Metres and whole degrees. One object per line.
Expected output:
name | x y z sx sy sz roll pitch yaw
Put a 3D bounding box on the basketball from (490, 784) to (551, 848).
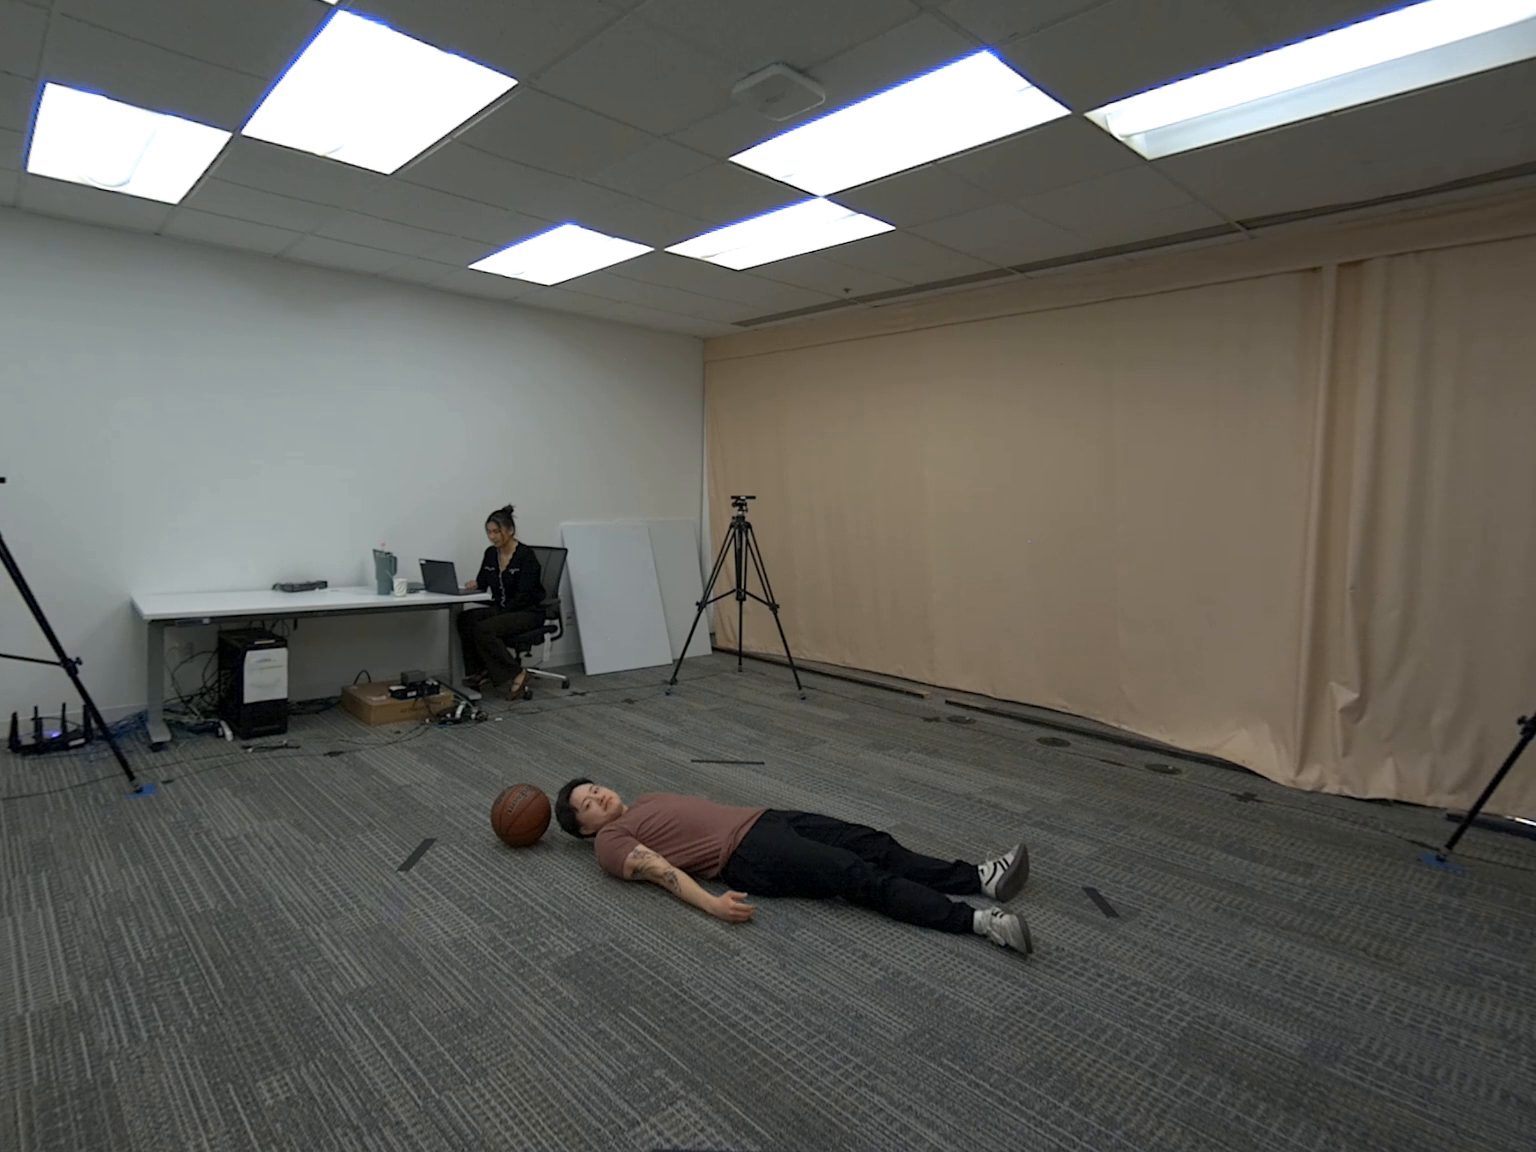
basketball | -0.982 0.941 3.328 0.236 0.234 0.237 0 8 -1
